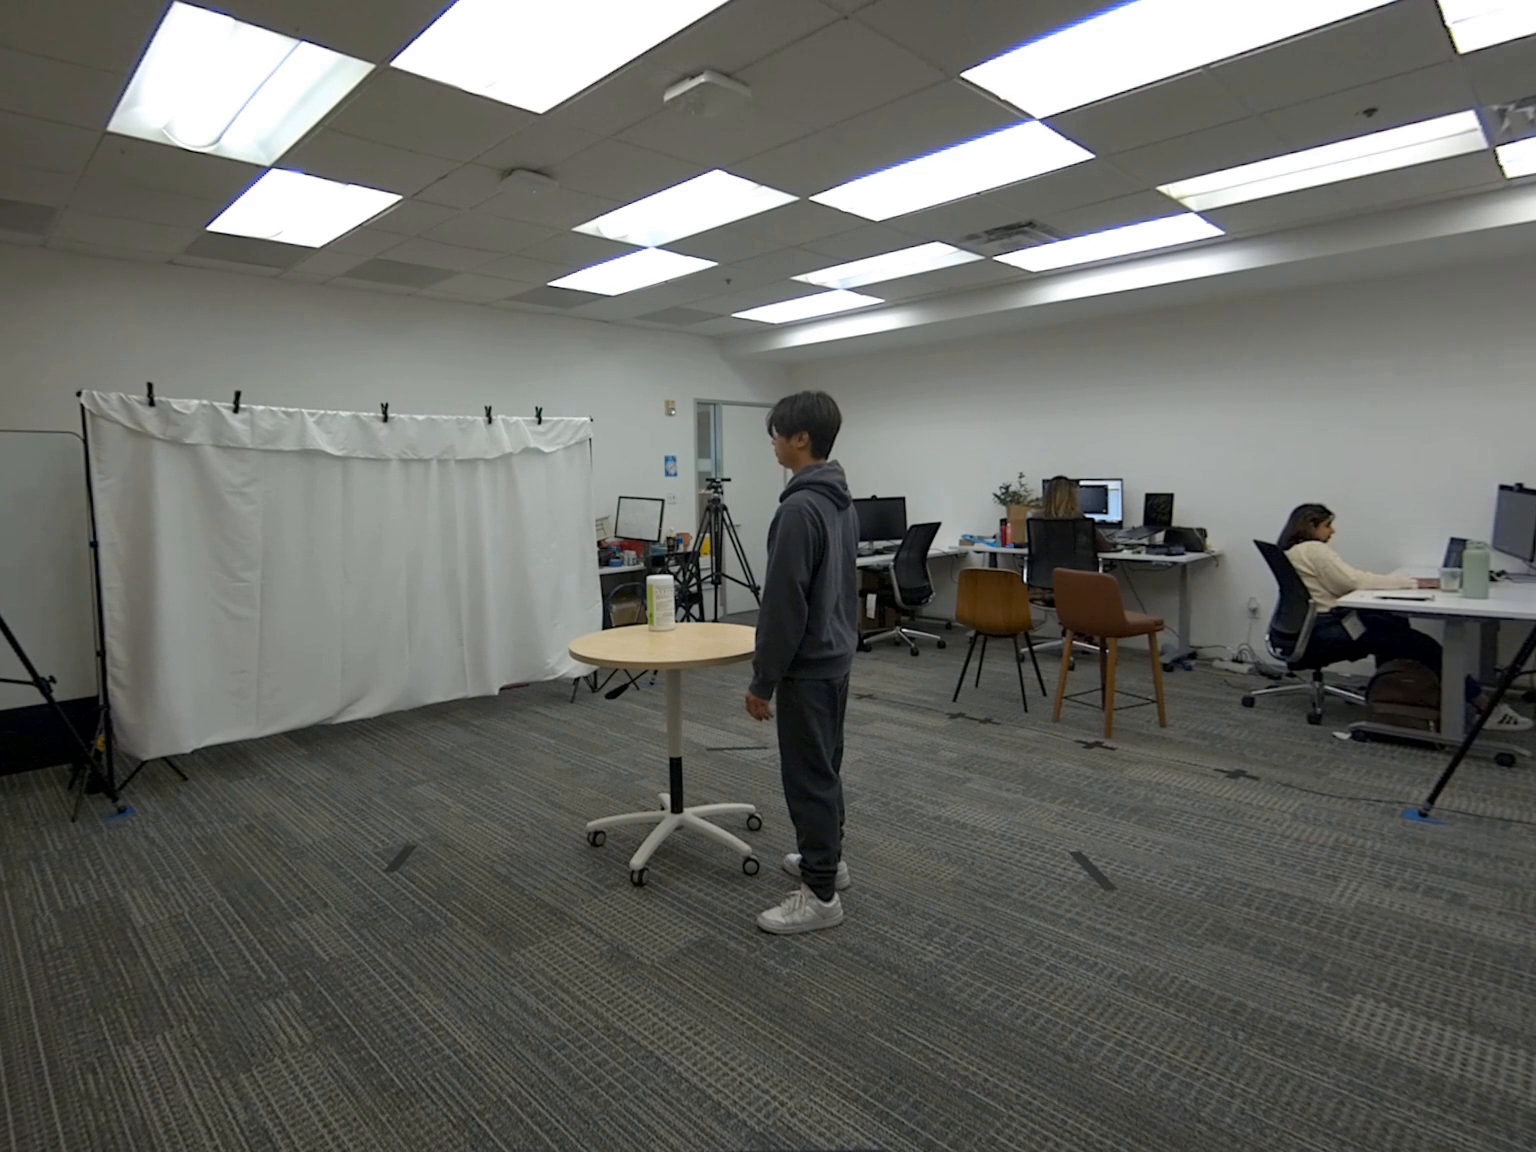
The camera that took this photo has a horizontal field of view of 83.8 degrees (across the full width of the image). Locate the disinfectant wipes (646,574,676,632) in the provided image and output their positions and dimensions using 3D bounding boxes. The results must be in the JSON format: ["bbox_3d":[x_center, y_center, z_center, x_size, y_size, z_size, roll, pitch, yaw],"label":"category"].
[{"bbox_3d":[-0.428,0.109,3.433,0.118,0.216,0.118,-2,5,-1],"label":"disinfectant wipes"}]
